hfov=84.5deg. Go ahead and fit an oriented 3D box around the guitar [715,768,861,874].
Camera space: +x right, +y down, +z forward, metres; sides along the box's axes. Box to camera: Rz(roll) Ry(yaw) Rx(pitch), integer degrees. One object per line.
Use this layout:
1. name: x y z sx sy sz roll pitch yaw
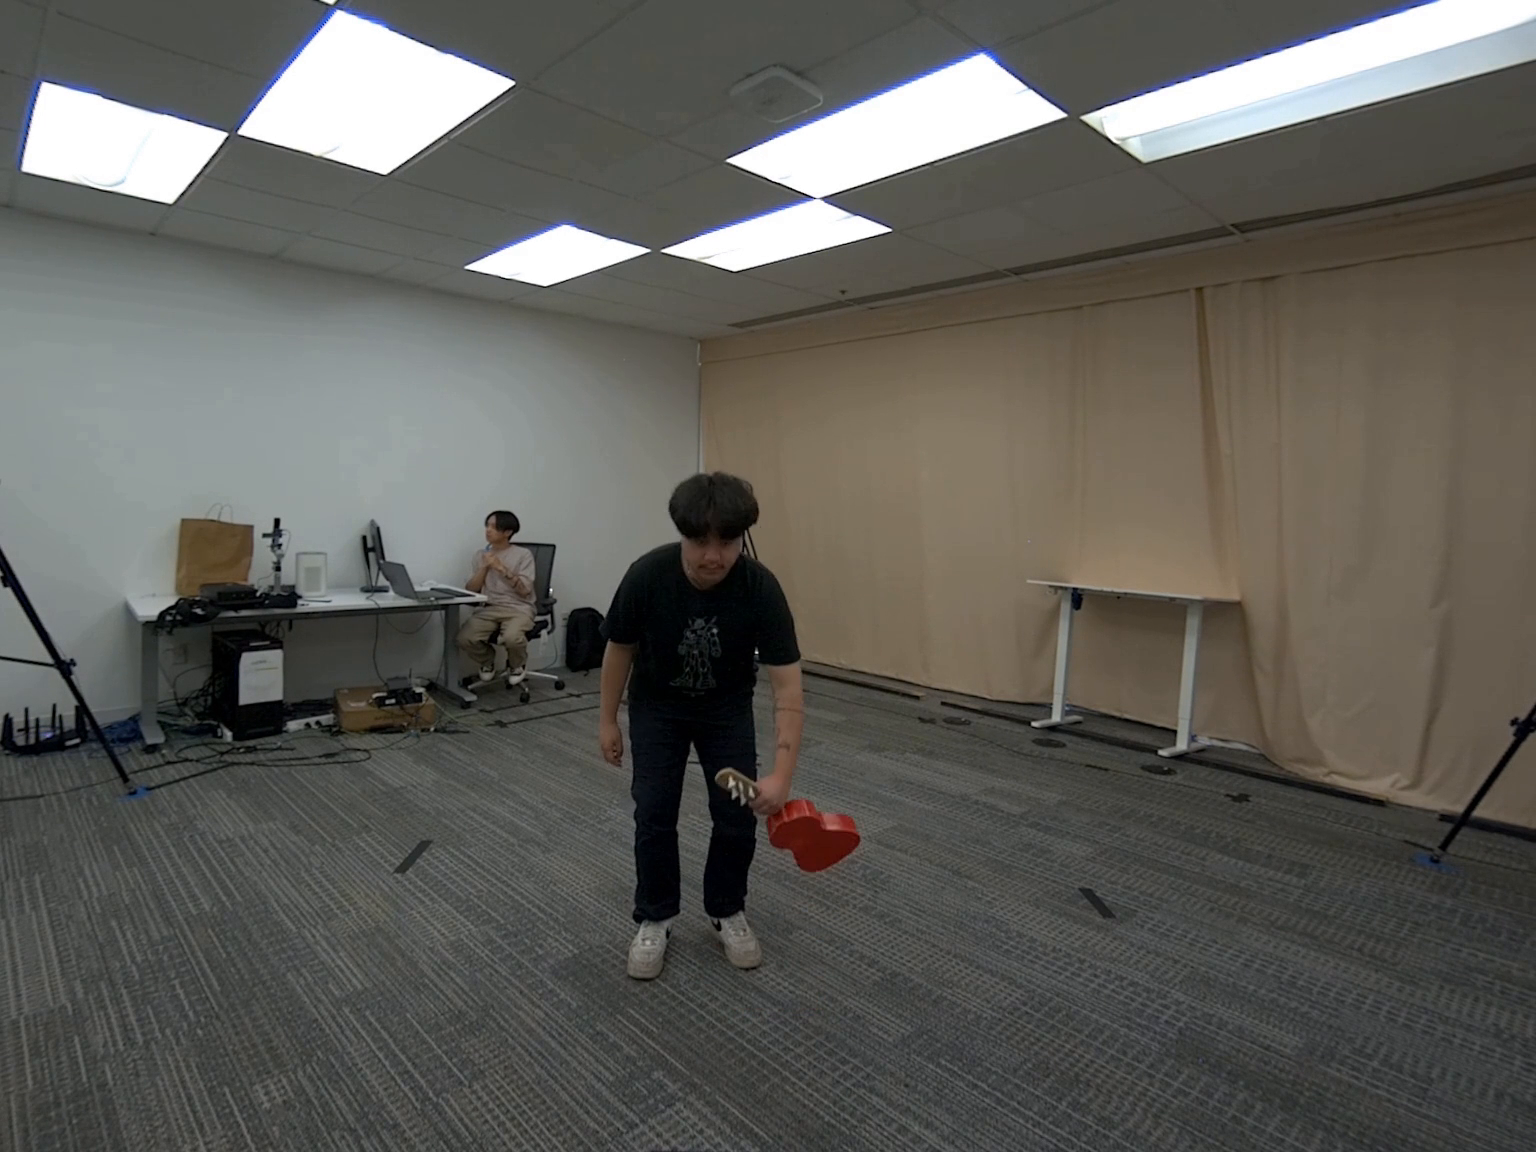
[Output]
1. guitar: 0.017 0.666 2.257 0.484 0.193 0.072 30 25 -30
